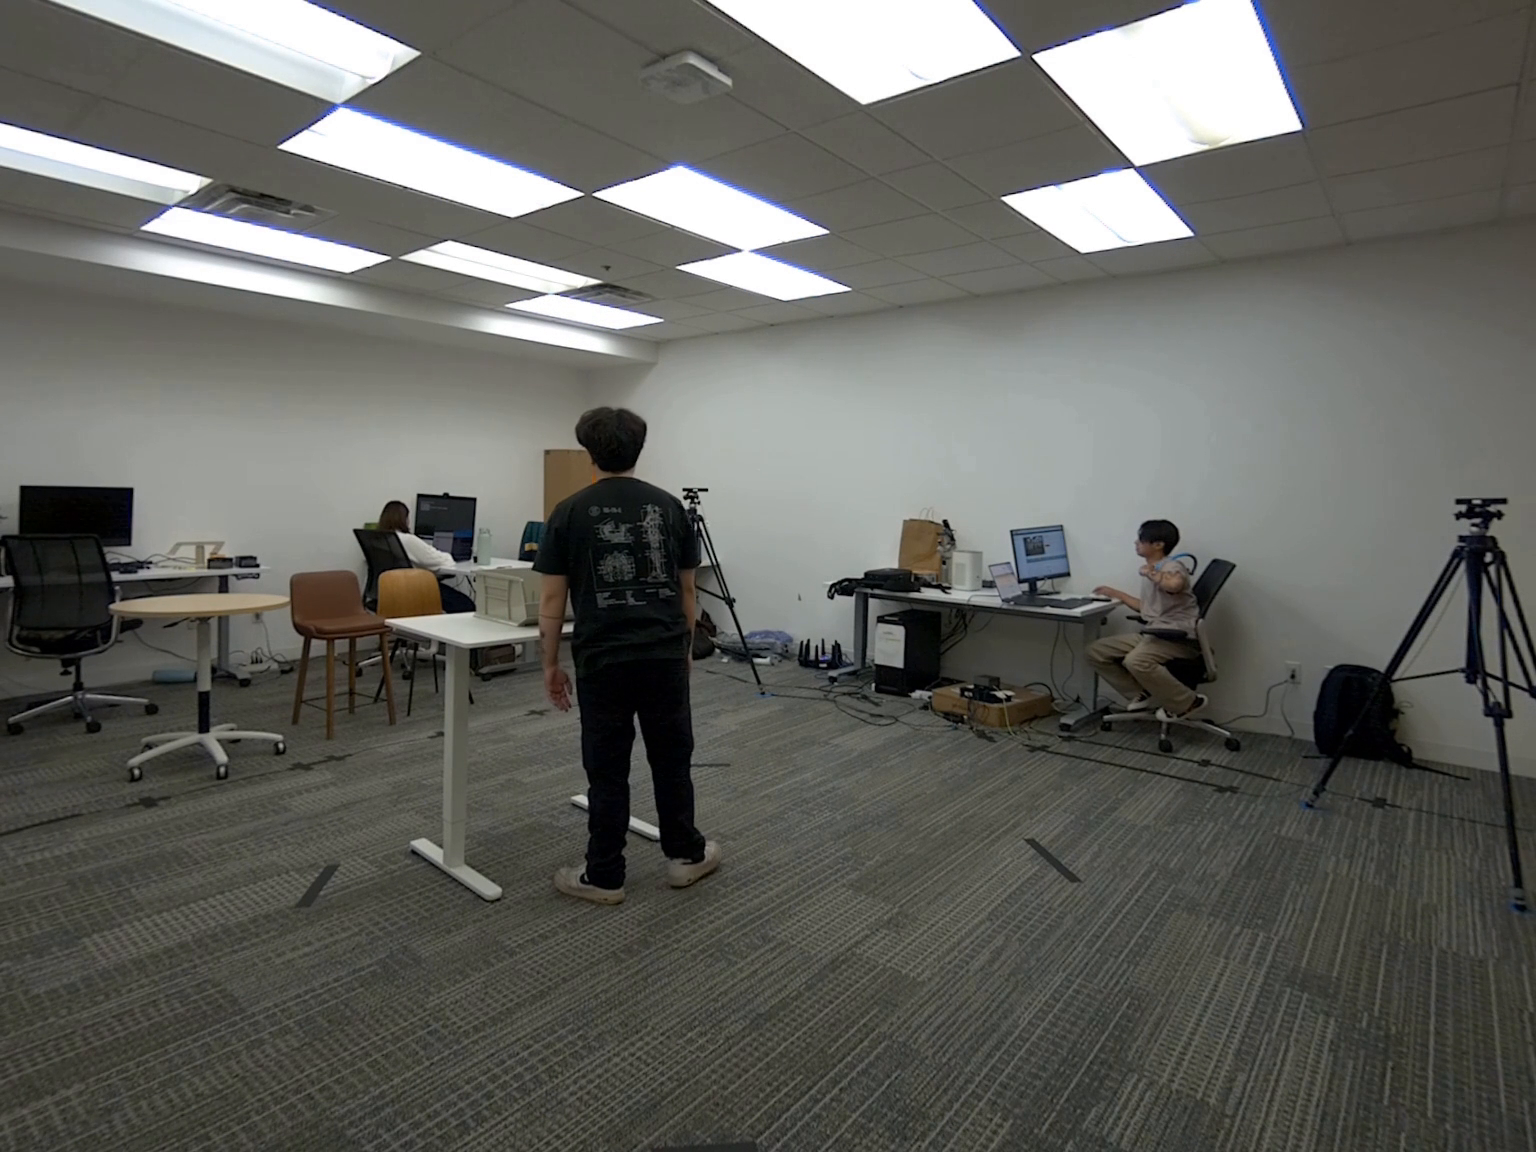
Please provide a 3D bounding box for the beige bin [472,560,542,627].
[{"bbox_3d":[-0.868,0.070,3.279,0.390,0.188,0.410,5,7,43],"label":"beige bin"}]
